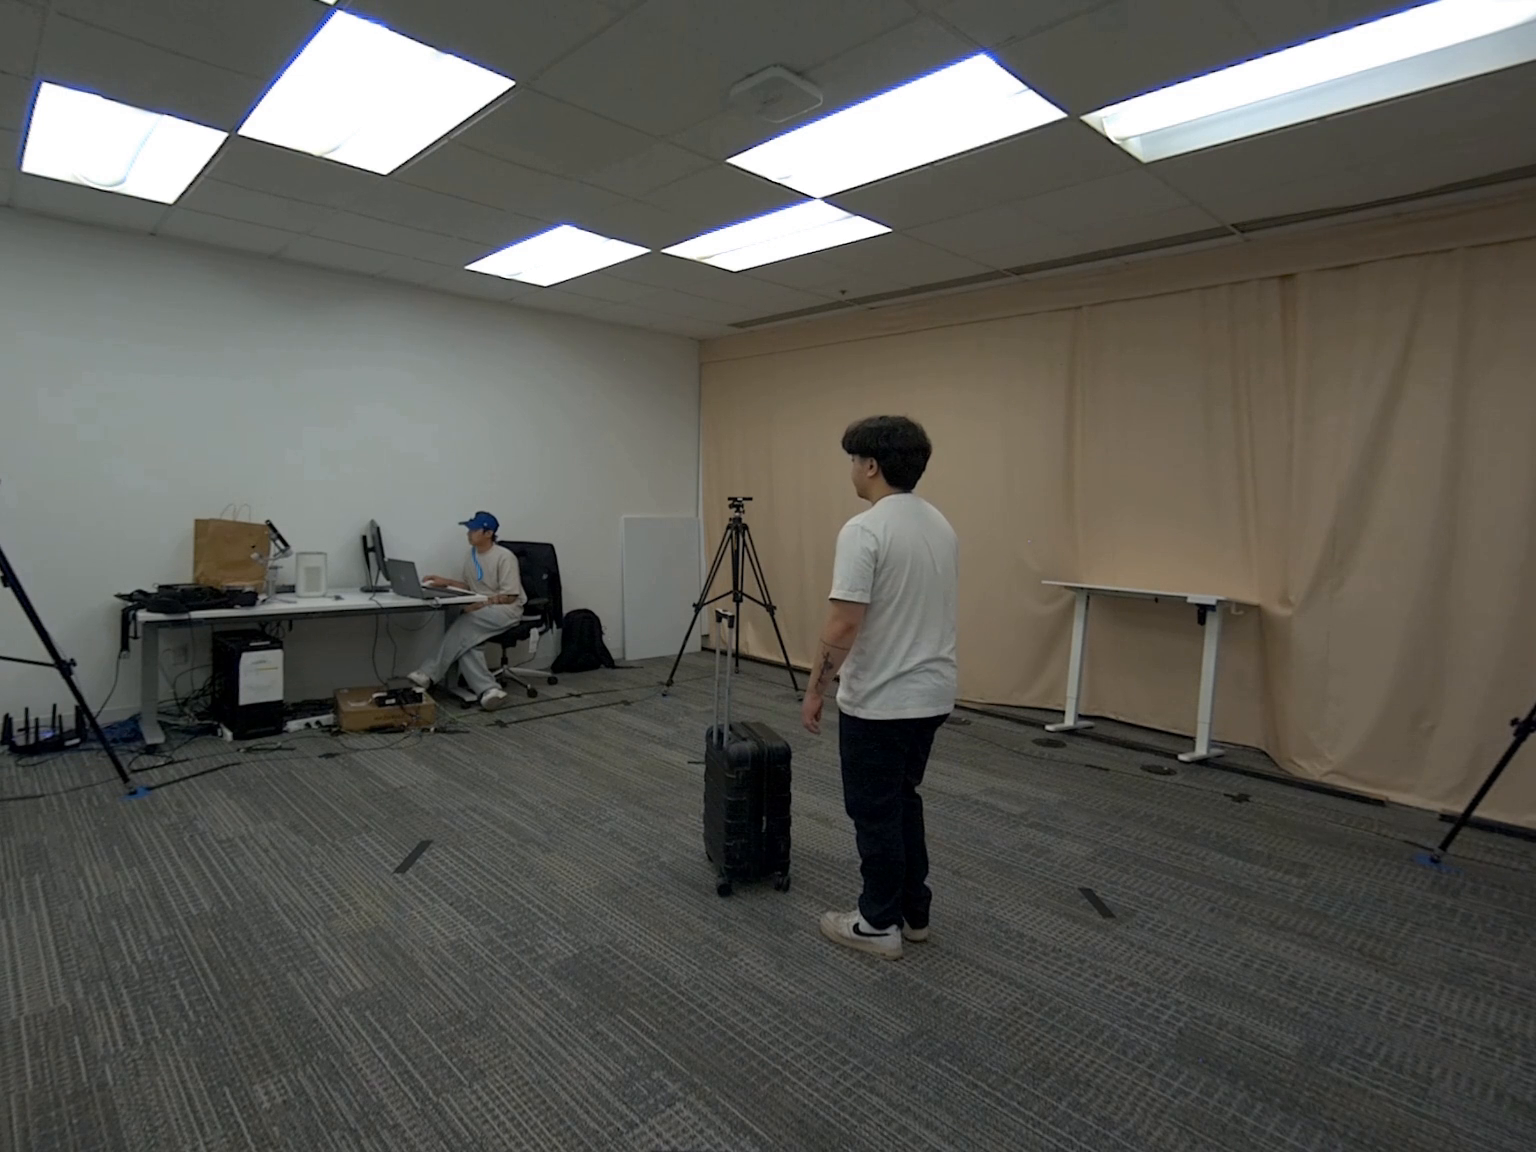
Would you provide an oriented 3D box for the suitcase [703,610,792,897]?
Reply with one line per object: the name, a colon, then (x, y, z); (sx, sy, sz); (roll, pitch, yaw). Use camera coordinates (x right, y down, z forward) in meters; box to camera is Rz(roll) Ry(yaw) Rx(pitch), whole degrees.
suitcase: (-0.078, 0.633, 3.107); (0.254, 0.976, 0.389); (2, 4, -15)
